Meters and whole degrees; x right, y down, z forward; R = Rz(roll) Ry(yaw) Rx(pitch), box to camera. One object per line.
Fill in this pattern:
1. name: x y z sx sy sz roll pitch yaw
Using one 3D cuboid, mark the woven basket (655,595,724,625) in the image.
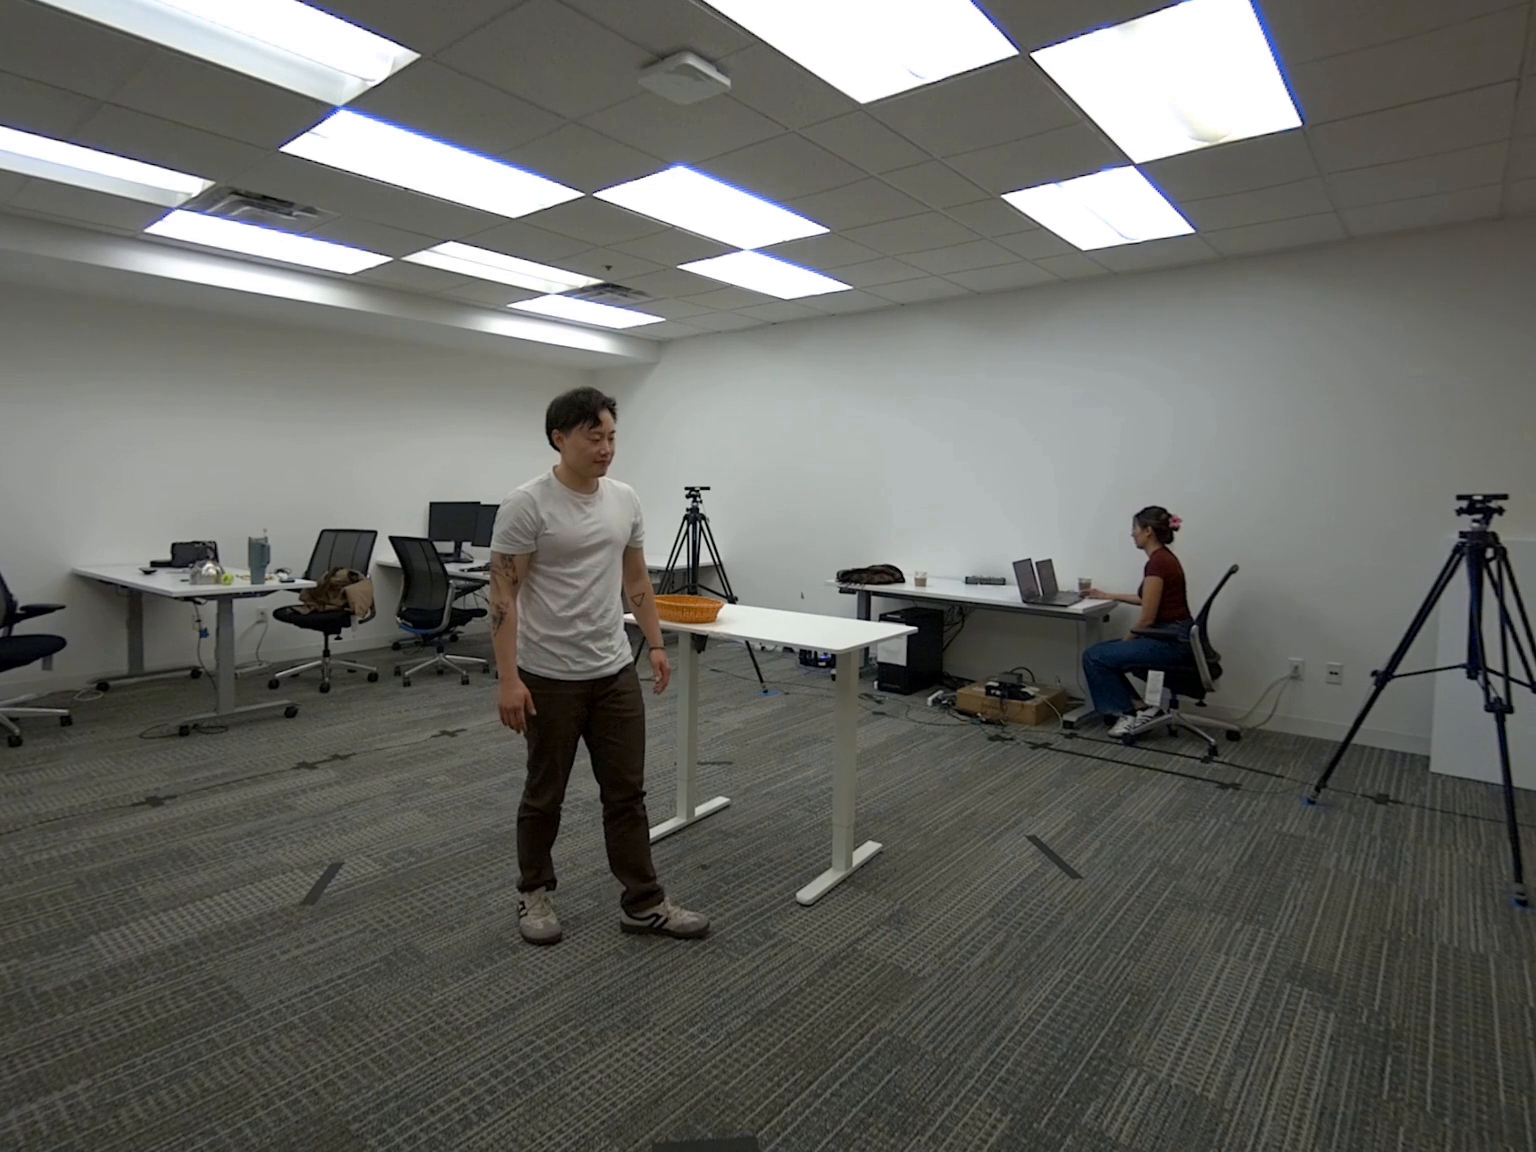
1. woven basket: -0.321 0.129 3.309 0.245 0.073 0.362 -3 6 -36
